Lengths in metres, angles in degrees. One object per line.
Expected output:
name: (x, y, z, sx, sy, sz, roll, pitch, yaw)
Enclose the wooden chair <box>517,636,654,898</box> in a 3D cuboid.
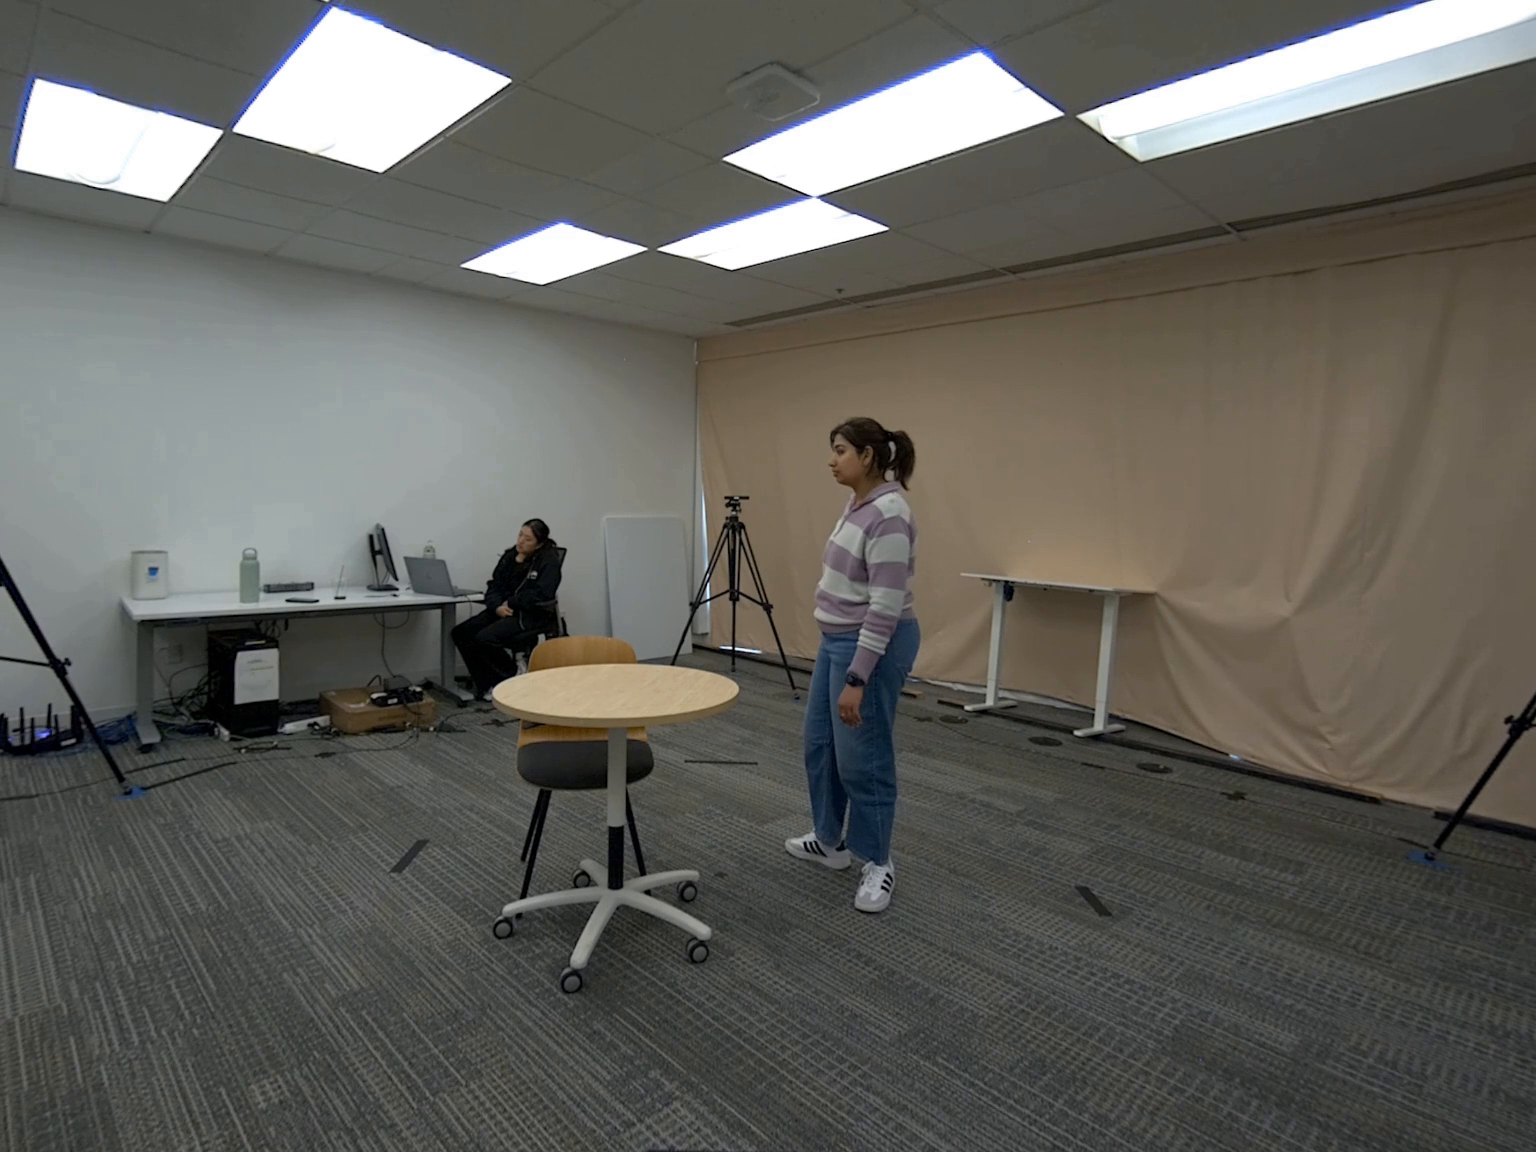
wooden chair: (-0.646, 0.676, 2.973, 0.473, 0.878, 0.529, 1, 0, -15)
